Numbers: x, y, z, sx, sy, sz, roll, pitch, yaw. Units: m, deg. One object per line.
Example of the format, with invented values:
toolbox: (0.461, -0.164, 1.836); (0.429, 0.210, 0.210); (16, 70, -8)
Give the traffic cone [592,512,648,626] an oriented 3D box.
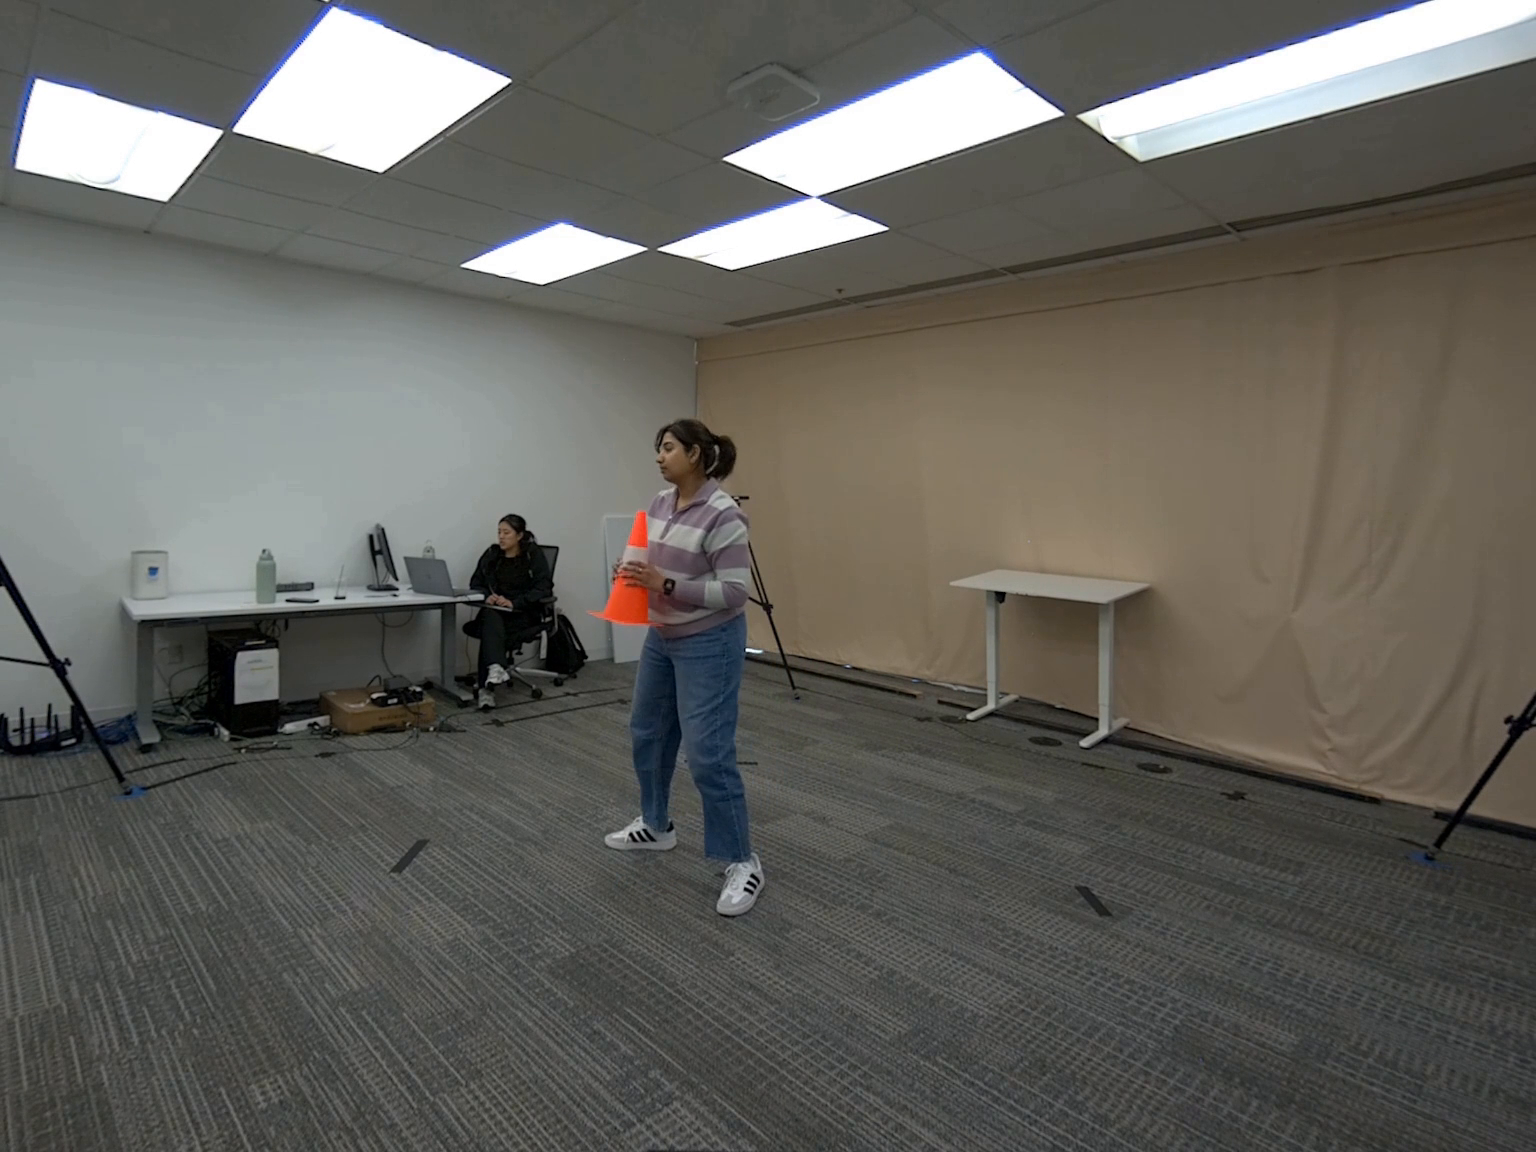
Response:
traffic cone: (-0.473, -0.030, 2.925); (0.210, 0.383, 0.198); (11, 4, 38)
